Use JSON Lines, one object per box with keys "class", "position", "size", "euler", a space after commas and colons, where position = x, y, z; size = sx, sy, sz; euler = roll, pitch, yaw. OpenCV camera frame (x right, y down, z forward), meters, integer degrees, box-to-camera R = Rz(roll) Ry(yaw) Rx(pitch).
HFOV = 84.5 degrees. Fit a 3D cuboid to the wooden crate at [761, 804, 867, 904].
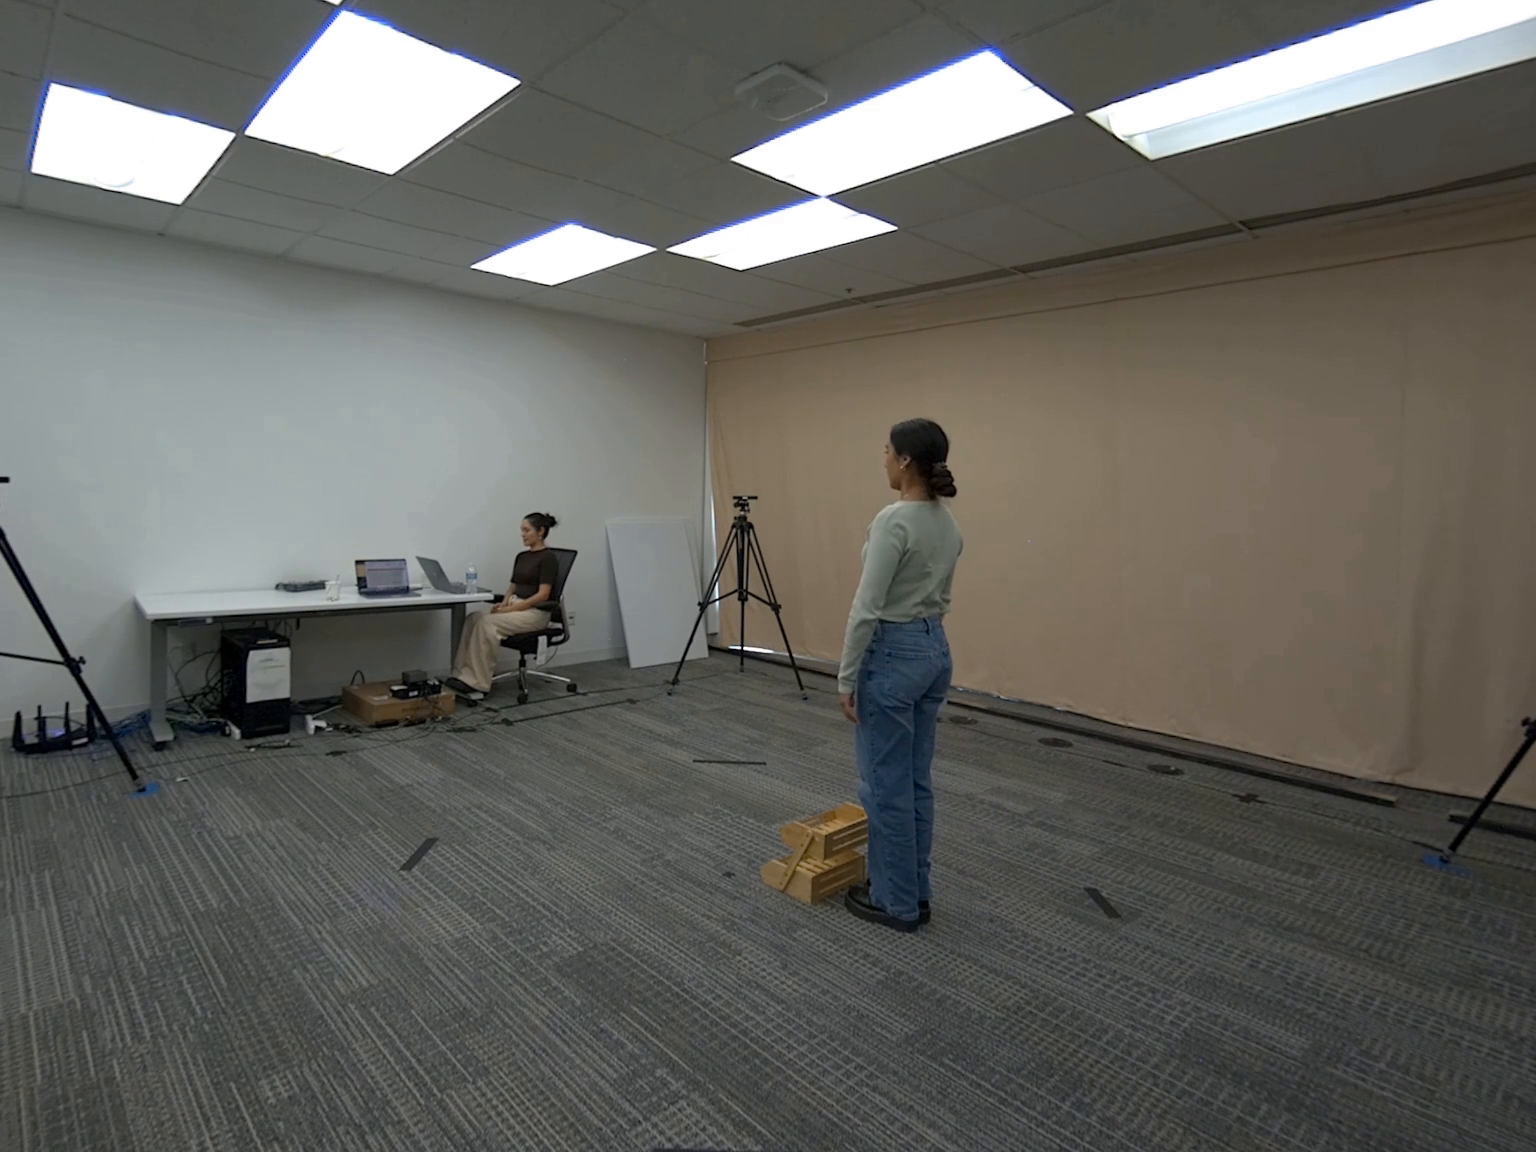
{"class": "wooden crate", "position": [0.176, 0.979, 3.057], "size": [0.310, 0.272, 0.317], "euler": [6, 6, 44]}
